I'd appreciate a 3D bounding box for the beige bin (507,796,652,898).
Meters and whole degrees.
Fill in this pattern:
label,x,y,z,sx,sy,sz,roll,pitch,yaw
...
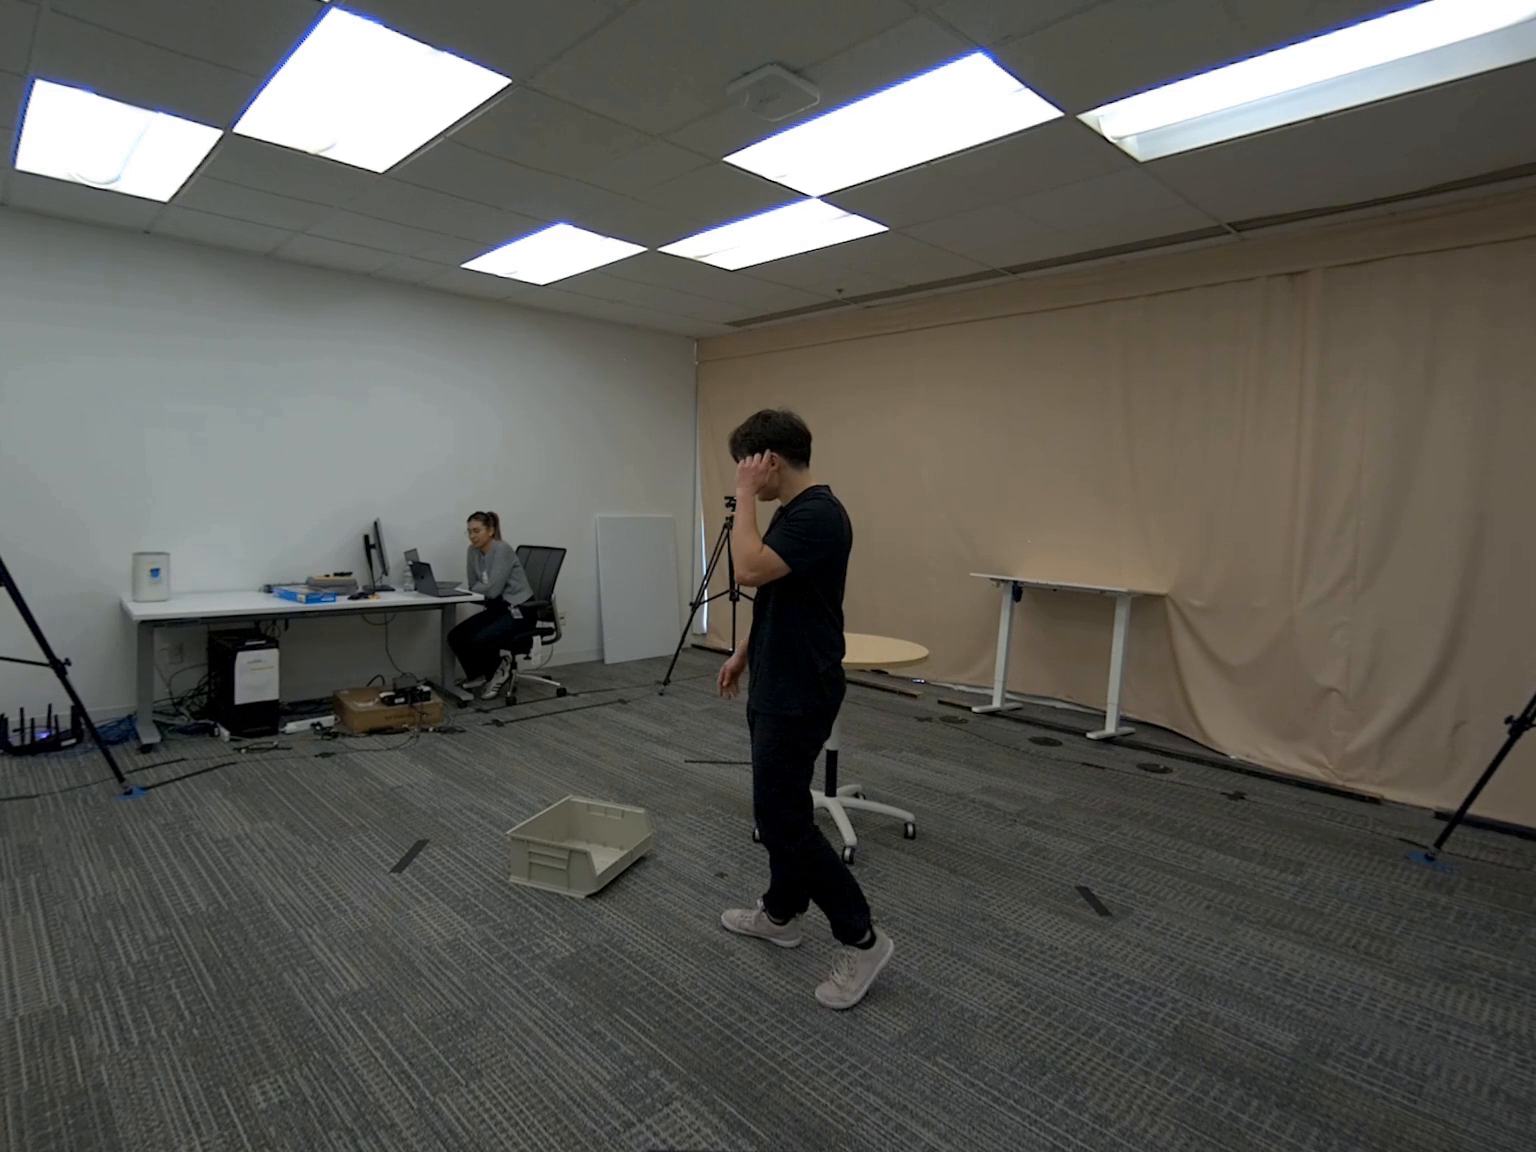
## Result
label,x,y,z,sx,sy,sz,roll,pitch,yaw
beige bin,-0.697,1.002,3.126,0.383,0.188,0.417,2,5,20
